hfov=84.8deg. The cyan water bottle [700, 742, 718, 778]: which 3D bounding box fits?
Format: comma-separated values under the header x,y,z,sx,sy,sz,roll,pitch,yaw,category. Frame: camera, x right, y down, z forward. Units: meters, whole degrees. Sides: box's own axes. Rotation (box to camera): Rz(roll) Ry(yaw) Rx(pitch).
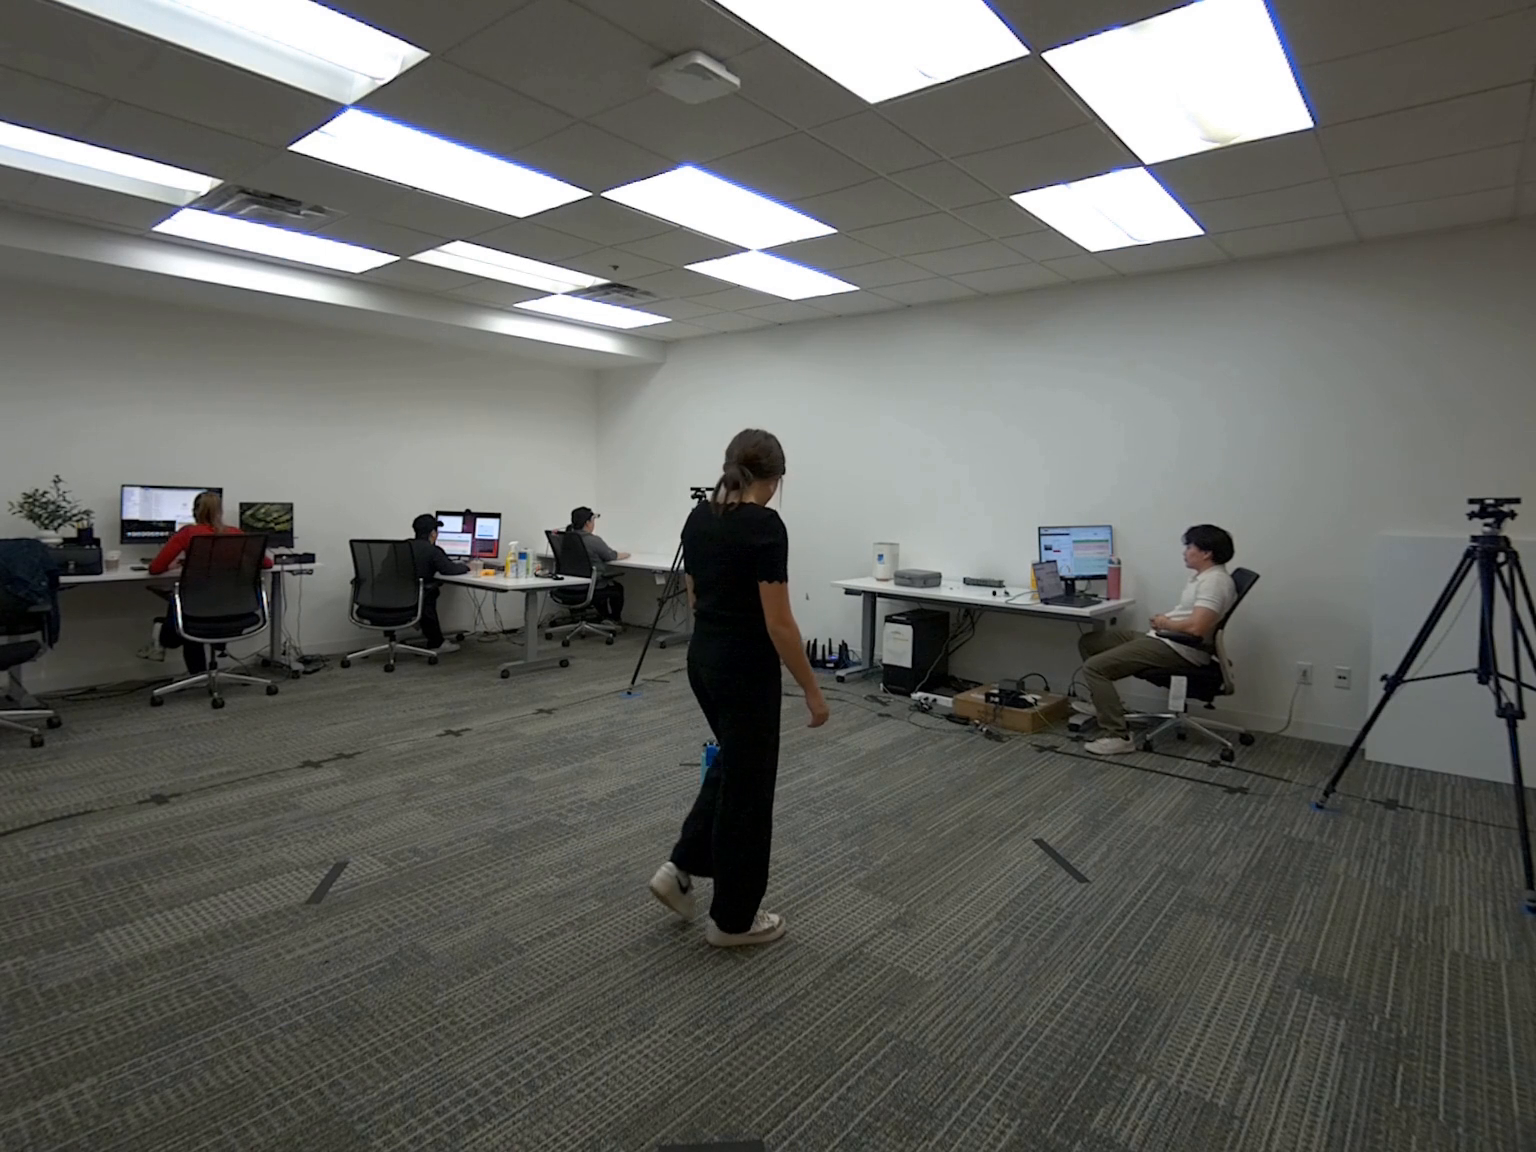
x,y,z,sx,sy,sz,roll,pitch,yaw,category
-0.260,0.857,3.759,0.092,0.283,0.092,1,2,-2,cyan water bottle
